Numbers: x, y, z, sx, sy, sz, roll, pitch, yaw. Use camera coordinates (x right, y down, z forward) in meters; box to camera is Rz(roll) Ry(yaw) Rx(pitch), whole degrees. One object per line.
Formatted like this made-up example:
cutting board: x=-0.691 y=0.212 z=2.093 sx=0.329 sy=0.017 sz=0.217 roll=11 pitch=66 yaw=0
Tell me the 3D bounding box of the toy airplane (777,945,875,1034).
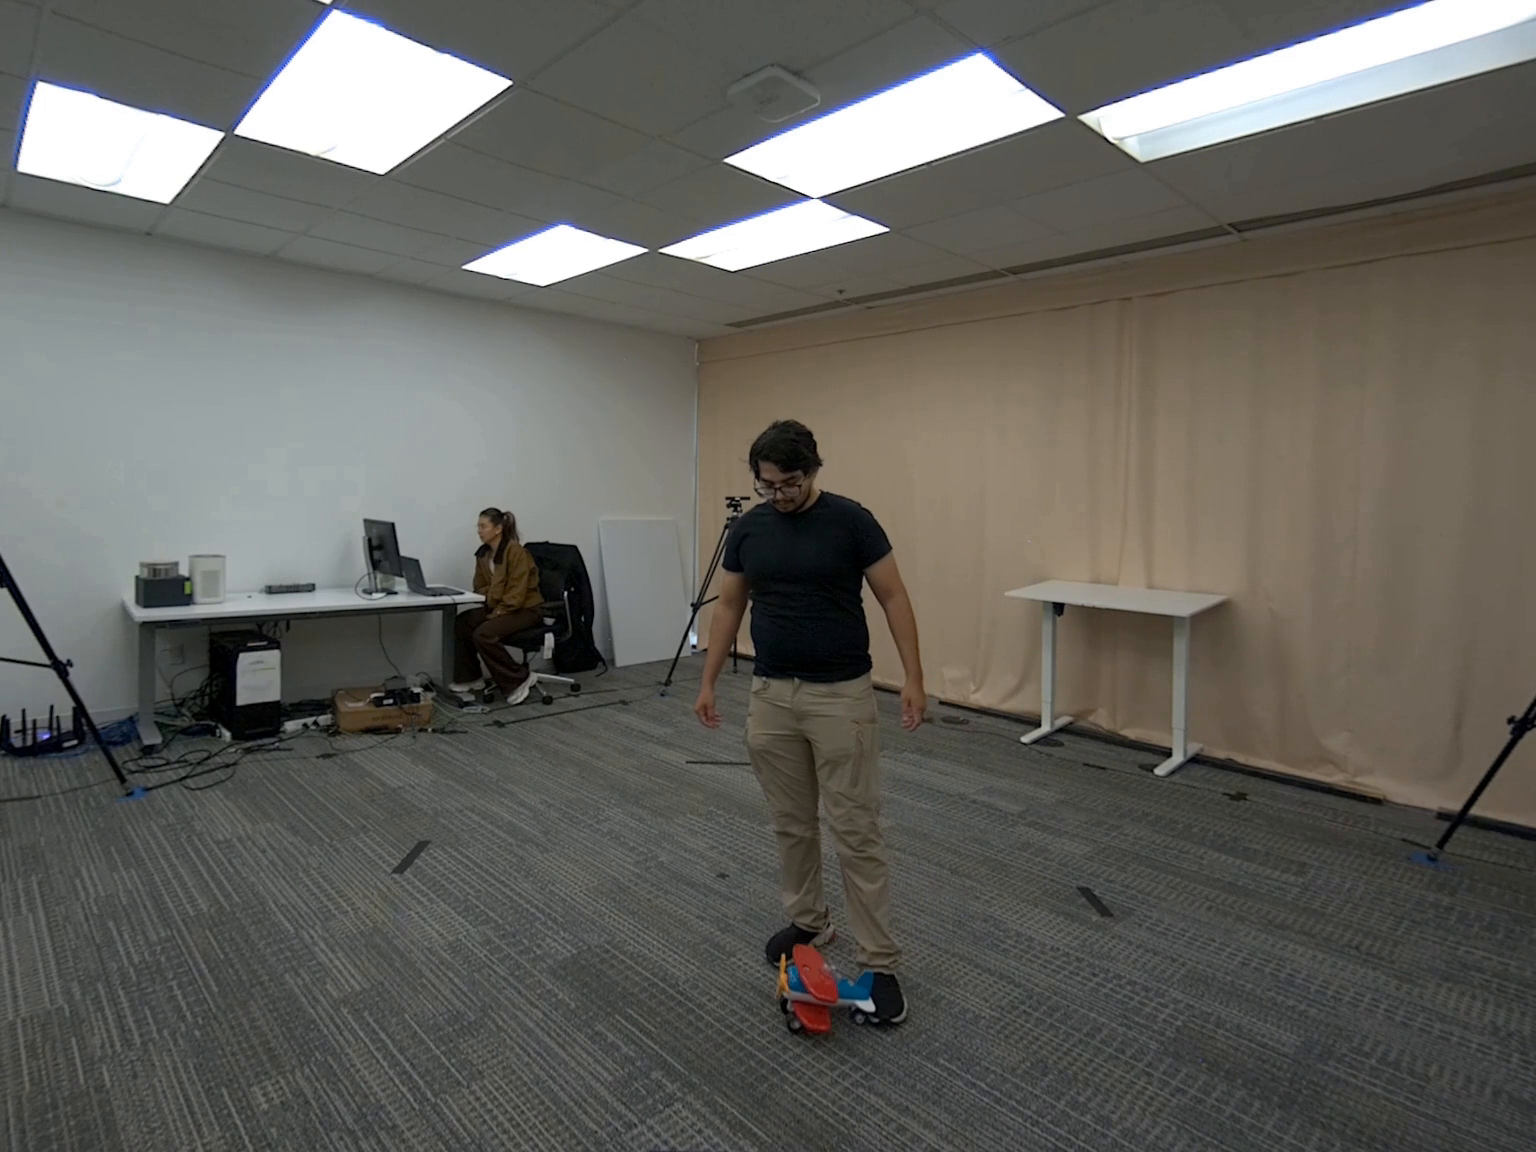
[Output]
toy airplane: x=0.139 y=1.122 z=2.262 sx=0.254 sy=0.156 sz=0.257 roll=-4 pitch=9 yaw=-37
